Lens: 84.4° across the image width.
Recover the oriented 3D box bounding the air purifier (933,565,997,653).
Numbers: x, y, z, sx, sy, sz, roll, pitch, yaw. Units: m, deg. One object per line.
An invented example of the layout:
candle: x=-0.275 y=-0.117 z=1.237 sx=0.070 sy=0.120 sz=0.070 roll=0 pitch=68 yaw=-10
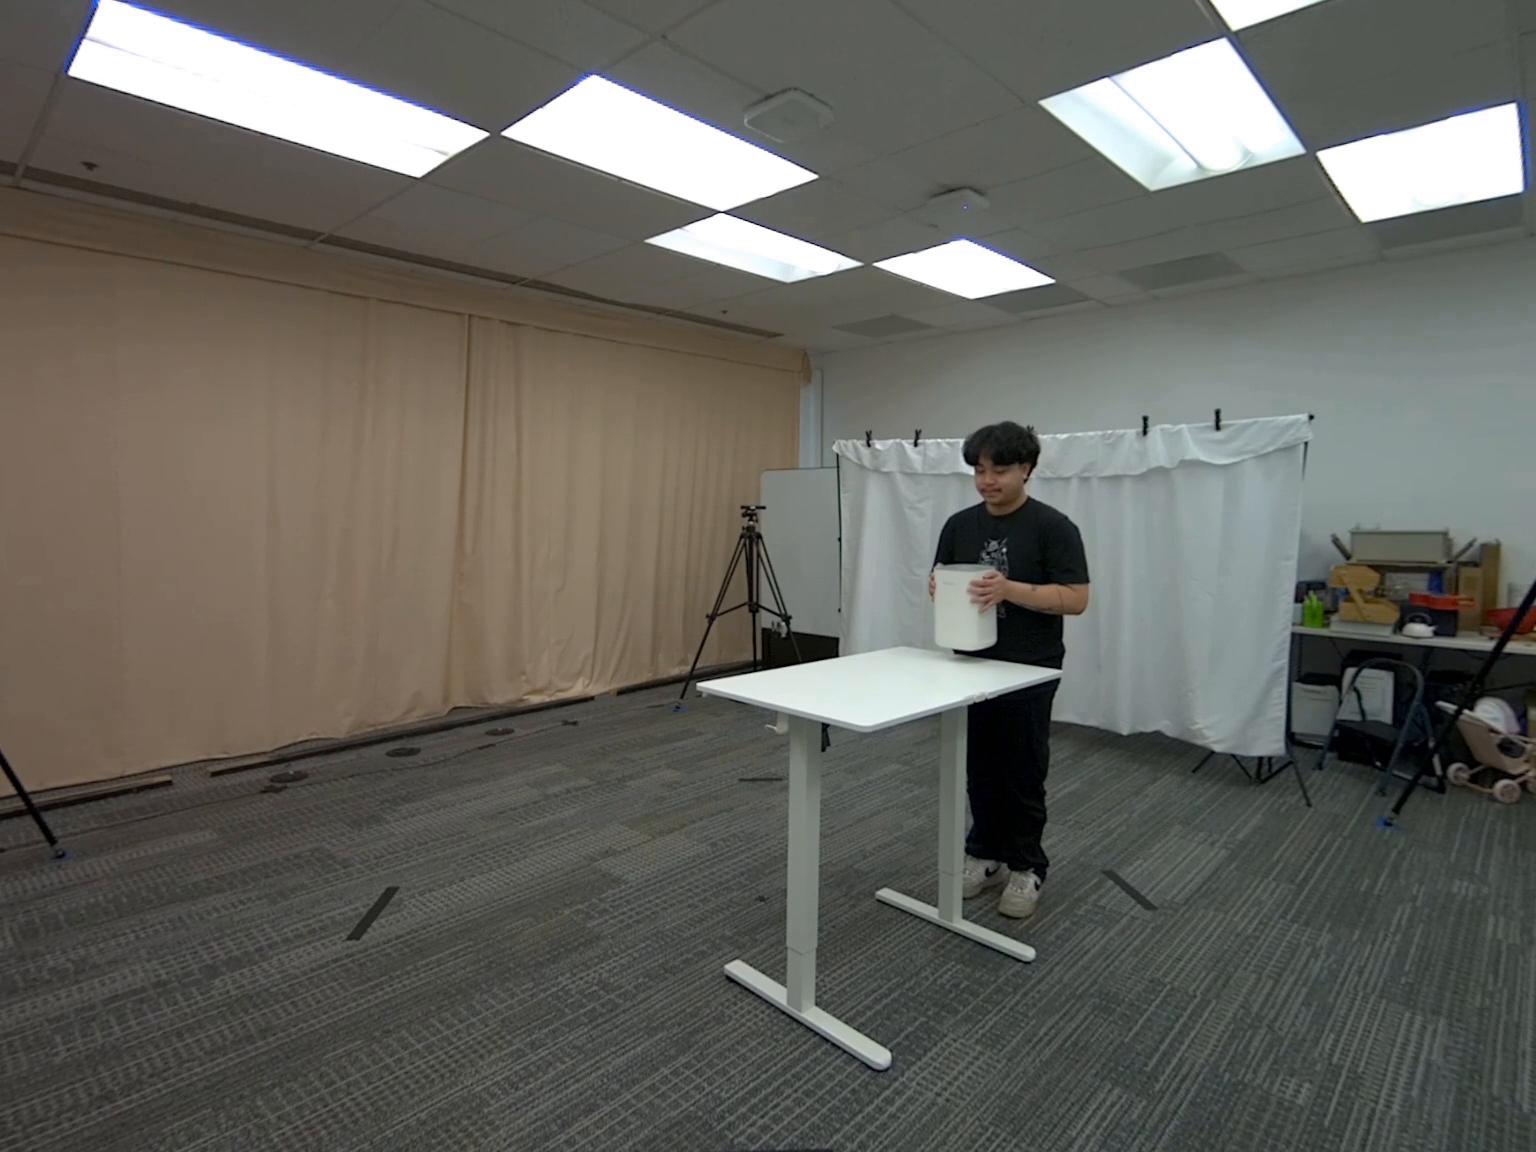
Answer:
air purifier: x=0.652 y=0.106 z=2.784 sx=0.177 sy=0.264 sz=0.166 roll=2 pitch=7 yaw=44
